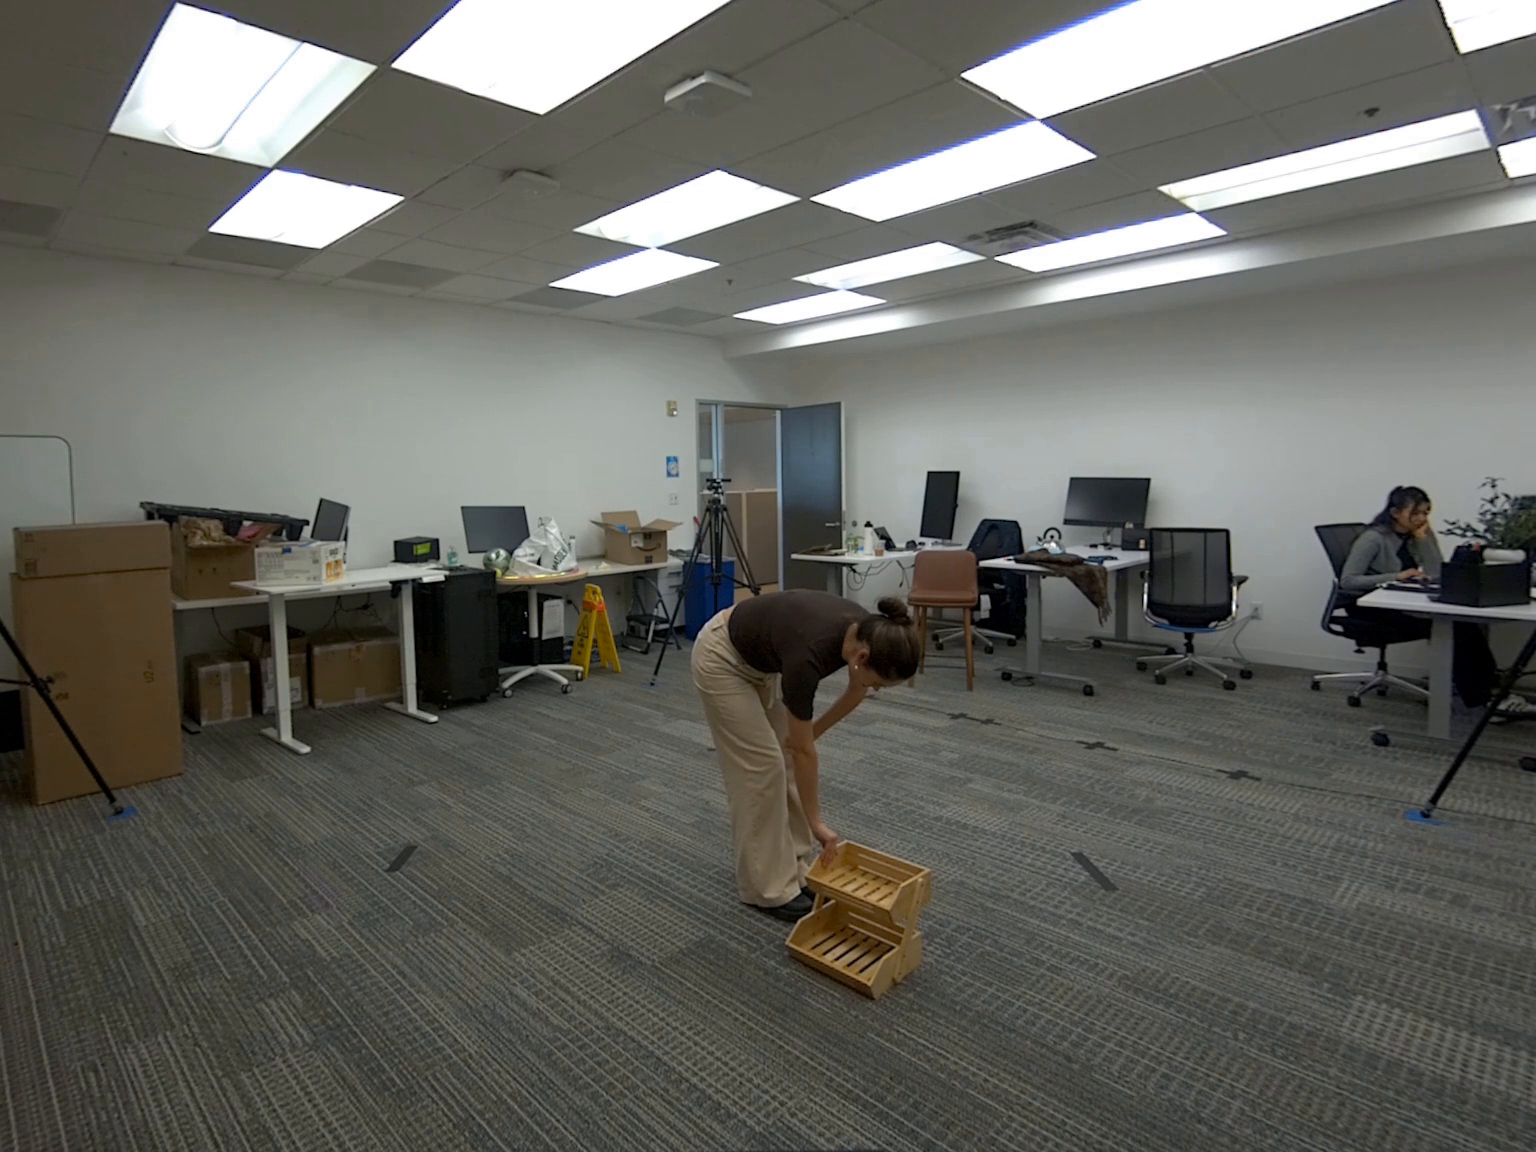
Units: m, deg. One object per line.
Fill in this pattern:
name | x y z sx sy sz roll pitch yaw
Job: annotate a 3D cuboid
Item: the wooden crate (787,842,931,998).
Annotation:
wooden crate | 0.265 0.976 2.474 0.334 0.272 0.294 4 6 44
